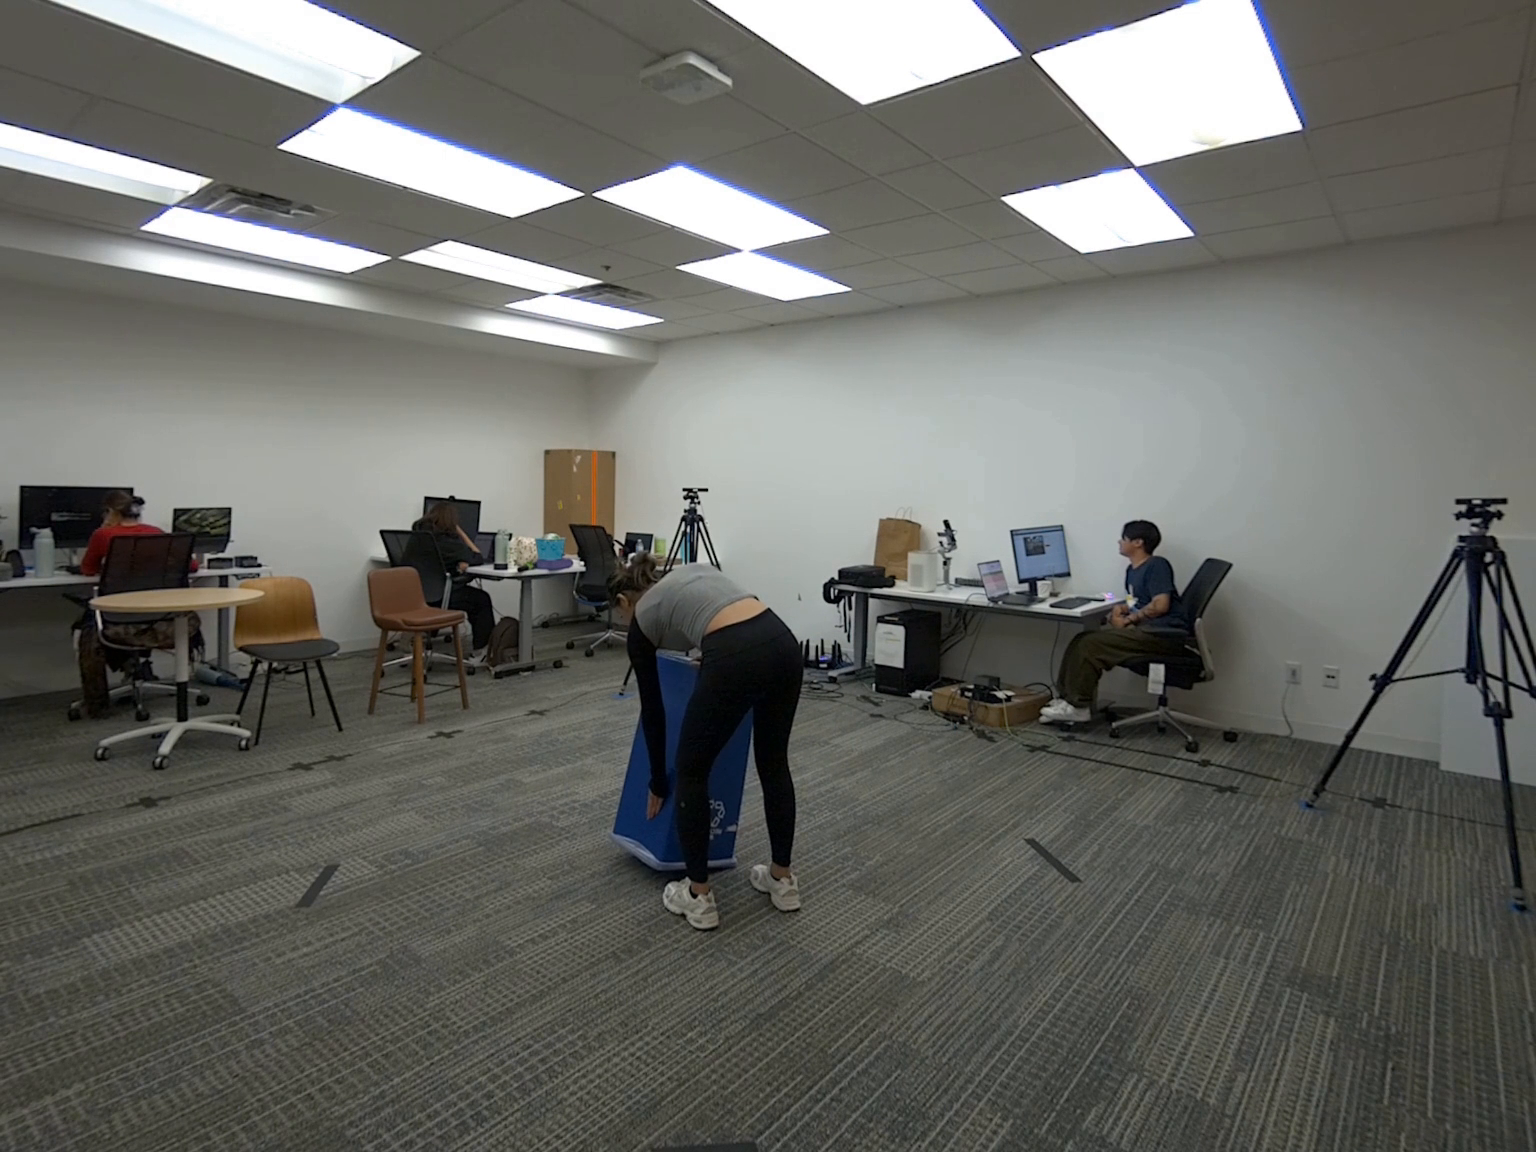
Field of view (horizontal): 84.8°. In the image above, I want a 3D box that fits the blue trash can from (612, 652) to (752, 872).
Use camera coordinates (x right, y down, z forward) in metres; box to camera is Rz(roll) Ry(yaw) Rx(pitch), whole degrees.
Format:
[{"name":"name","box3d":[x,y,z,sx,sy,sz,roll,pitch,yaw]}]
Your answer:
[{"name":"blue trash can","box3d":[-0.314,0.678,3.205,0.360,0.716,0.391,14,-6,-40]}]
